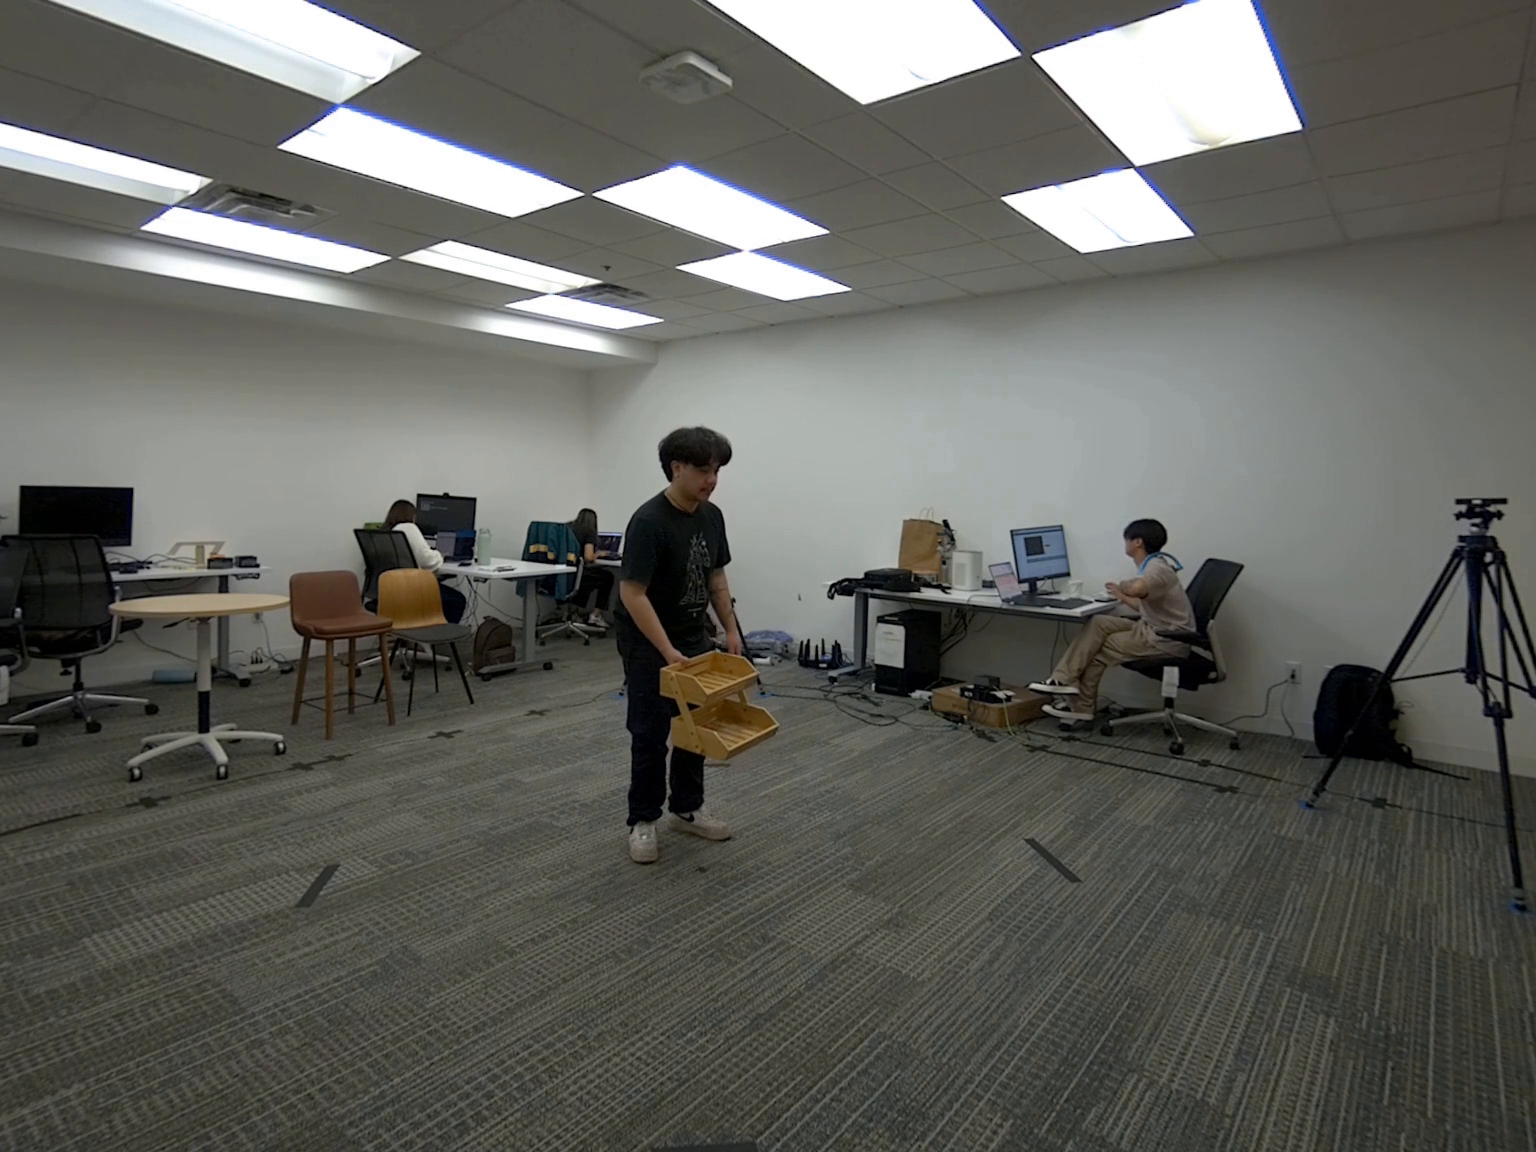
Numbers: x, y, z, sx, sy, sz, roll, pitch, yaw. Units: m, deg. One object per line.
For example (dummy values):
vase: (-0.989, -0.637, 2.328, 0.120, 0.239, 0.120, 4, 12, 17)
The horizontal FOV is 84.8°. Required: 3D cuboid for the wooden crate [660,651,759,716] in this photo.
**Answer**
wooden crate: (-0.171, 0.439, 2.969, 0.312, 0.271, 0.317, 8, 12, 34)
